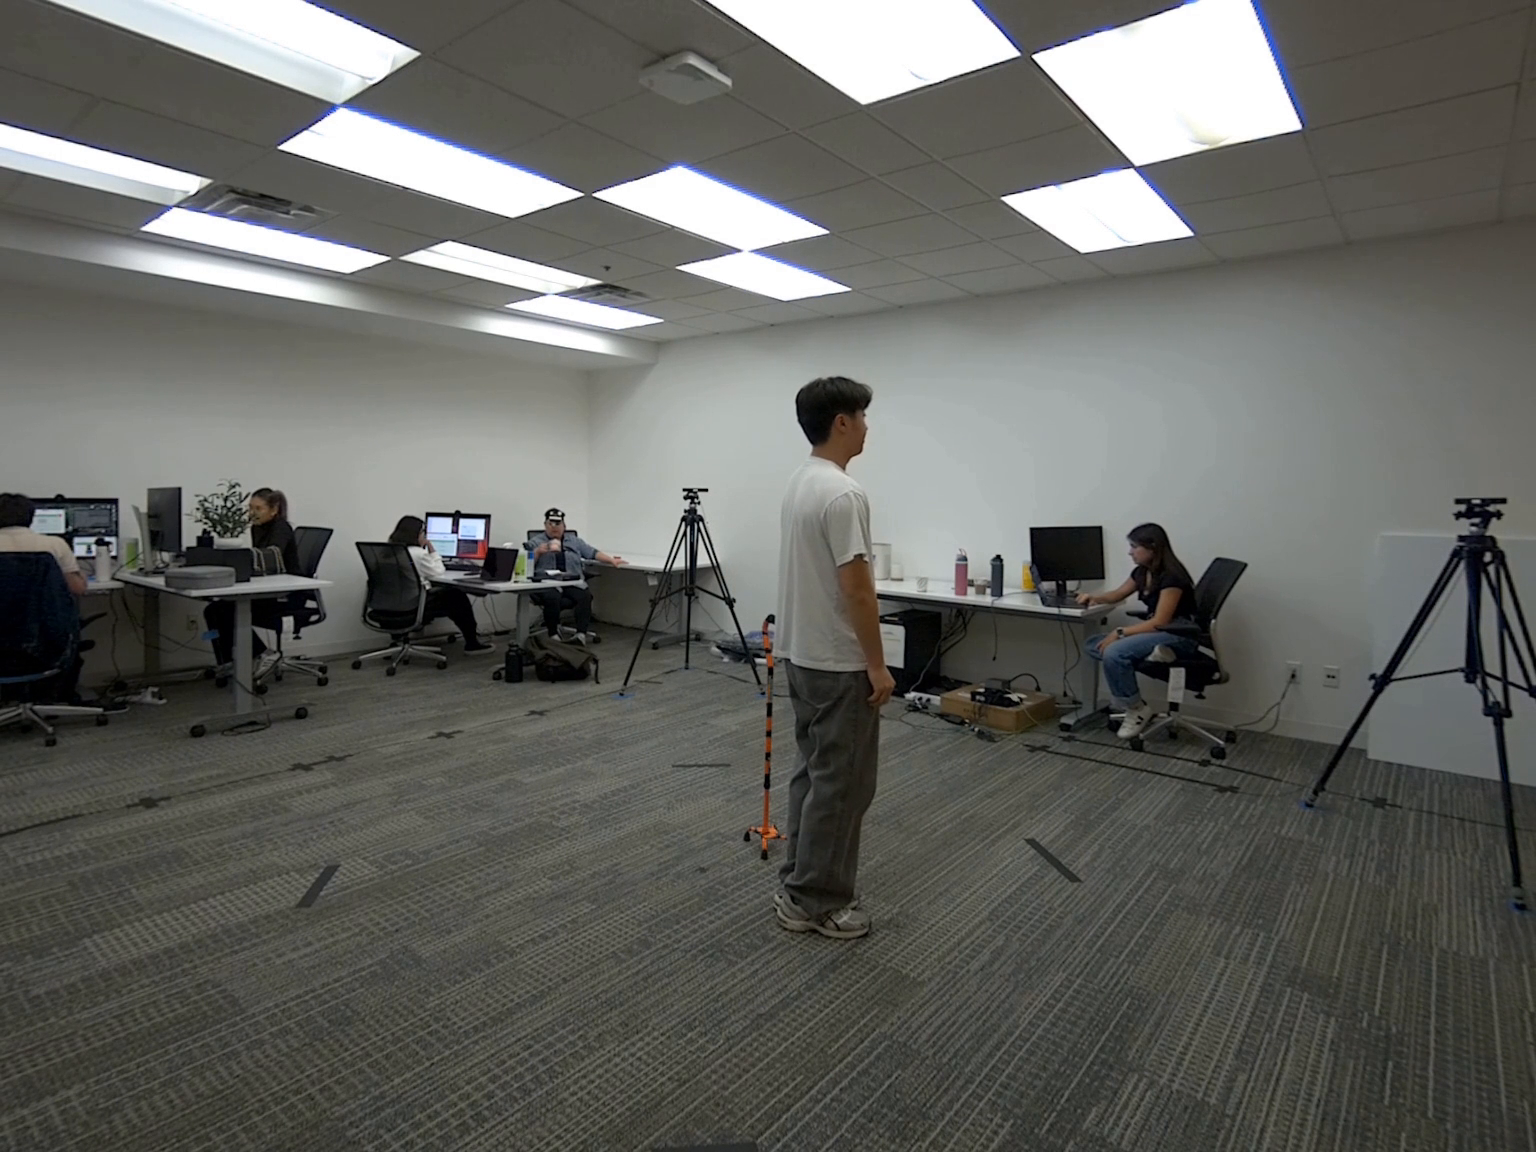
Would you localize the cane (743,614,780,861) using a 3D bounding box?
[{"bbox_3d":[0.011,0.595,3.296,0.148,0.906,0.211,-1,2,-22],"label":"cane"}]
